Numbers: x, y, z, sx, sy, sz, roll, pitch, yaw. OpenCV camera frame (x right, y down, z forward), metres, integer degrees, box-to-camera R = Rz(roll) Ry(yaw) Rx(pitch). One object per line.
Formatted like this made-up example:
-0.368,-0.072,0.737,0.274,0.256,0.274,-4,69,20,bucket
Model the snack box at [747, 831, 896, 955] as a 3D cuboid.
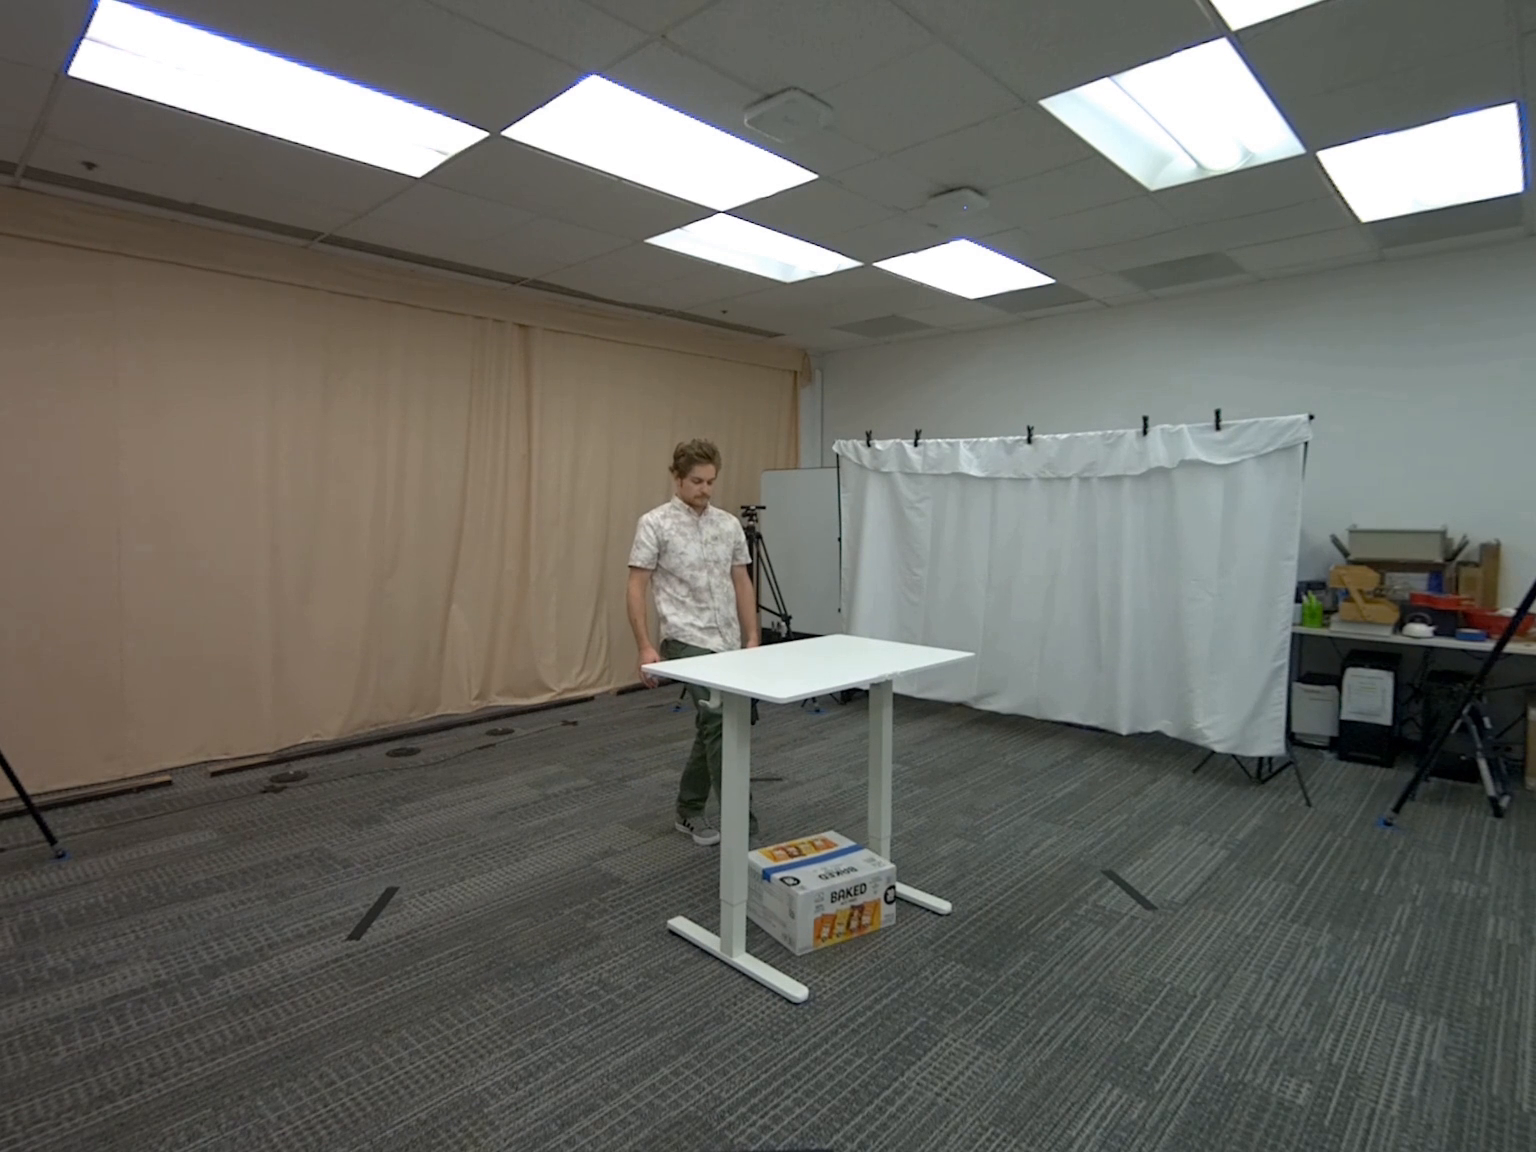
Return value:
0.169,1.056,2.831,0.394,0.205,0.351,-3,5,-32,snack box
